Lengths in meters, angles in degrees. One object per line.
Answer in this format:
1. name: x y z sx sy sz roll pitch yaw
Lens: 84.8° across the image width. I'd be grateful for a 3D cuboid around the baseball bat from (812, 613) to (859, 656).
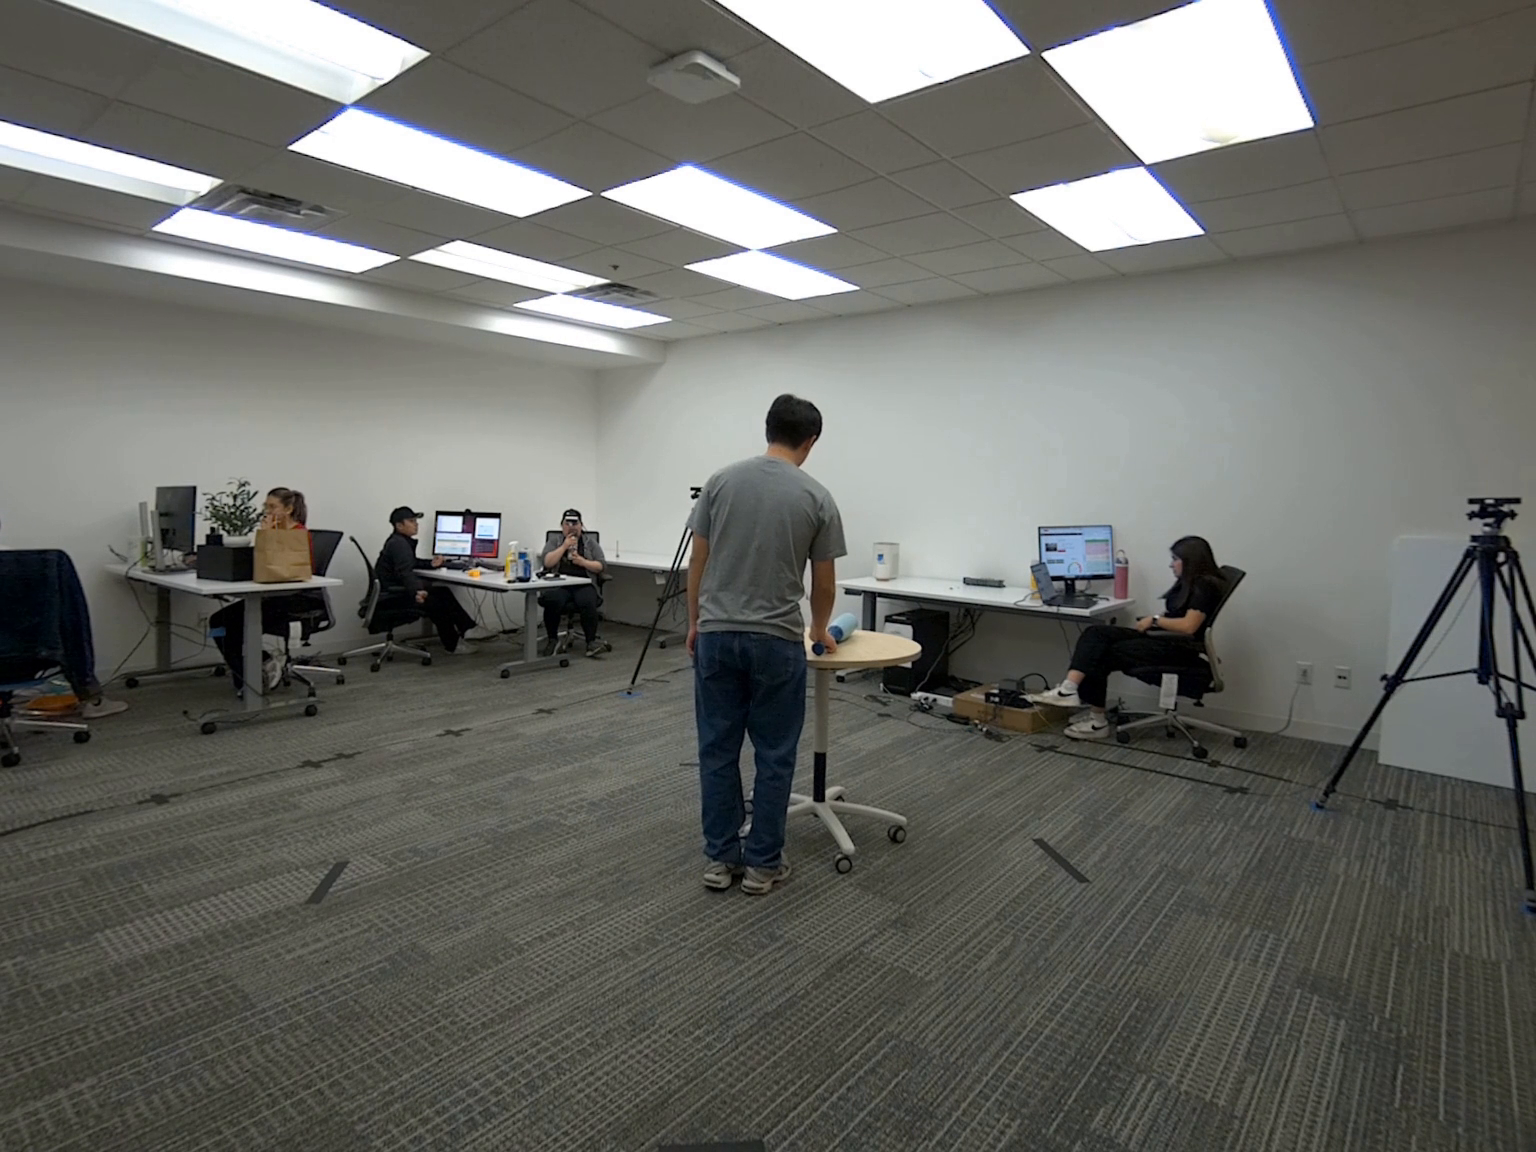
1. baseball bat: 0.252 0.234 3.367 0.091 0.088 0.537 2 9 16
